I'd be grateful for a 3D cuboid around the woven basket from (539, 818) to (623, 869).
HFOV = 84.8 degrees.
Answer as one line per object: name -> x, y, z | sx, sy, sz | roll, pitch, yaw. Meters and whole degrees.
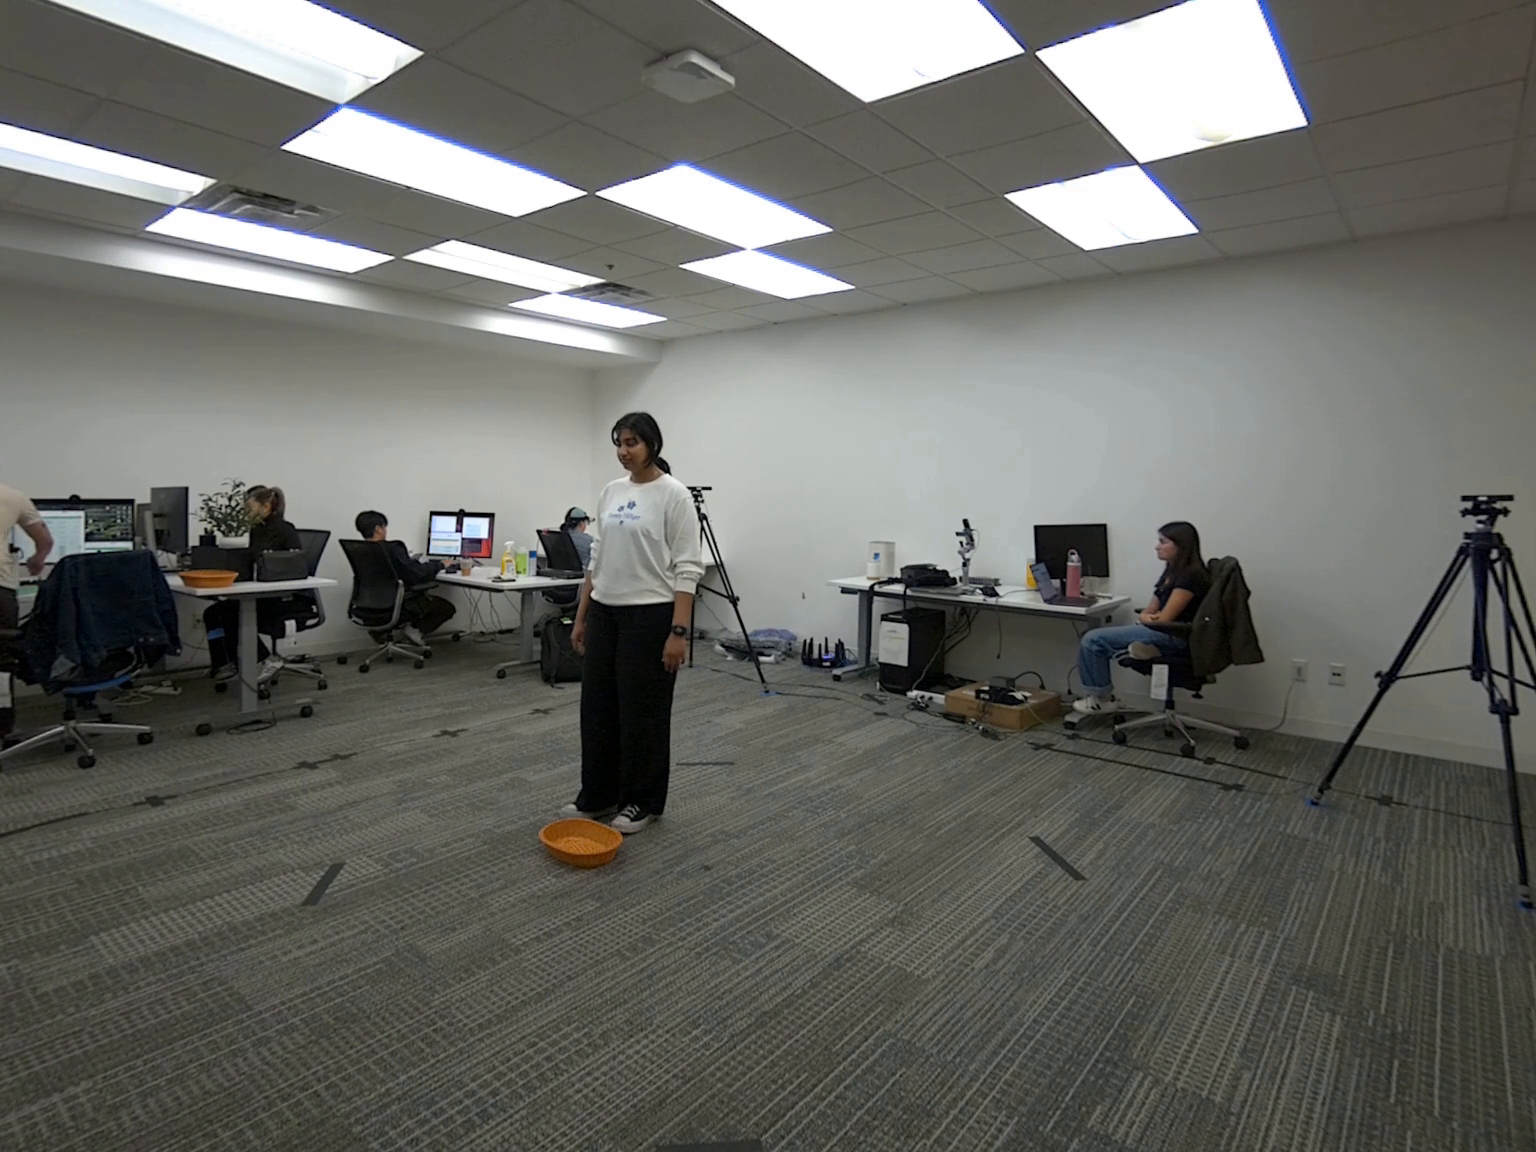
woven basket -> -0.712, 1.006, 3.213 | 0.362, 0.073, 0.245 | 6, 8, 38
